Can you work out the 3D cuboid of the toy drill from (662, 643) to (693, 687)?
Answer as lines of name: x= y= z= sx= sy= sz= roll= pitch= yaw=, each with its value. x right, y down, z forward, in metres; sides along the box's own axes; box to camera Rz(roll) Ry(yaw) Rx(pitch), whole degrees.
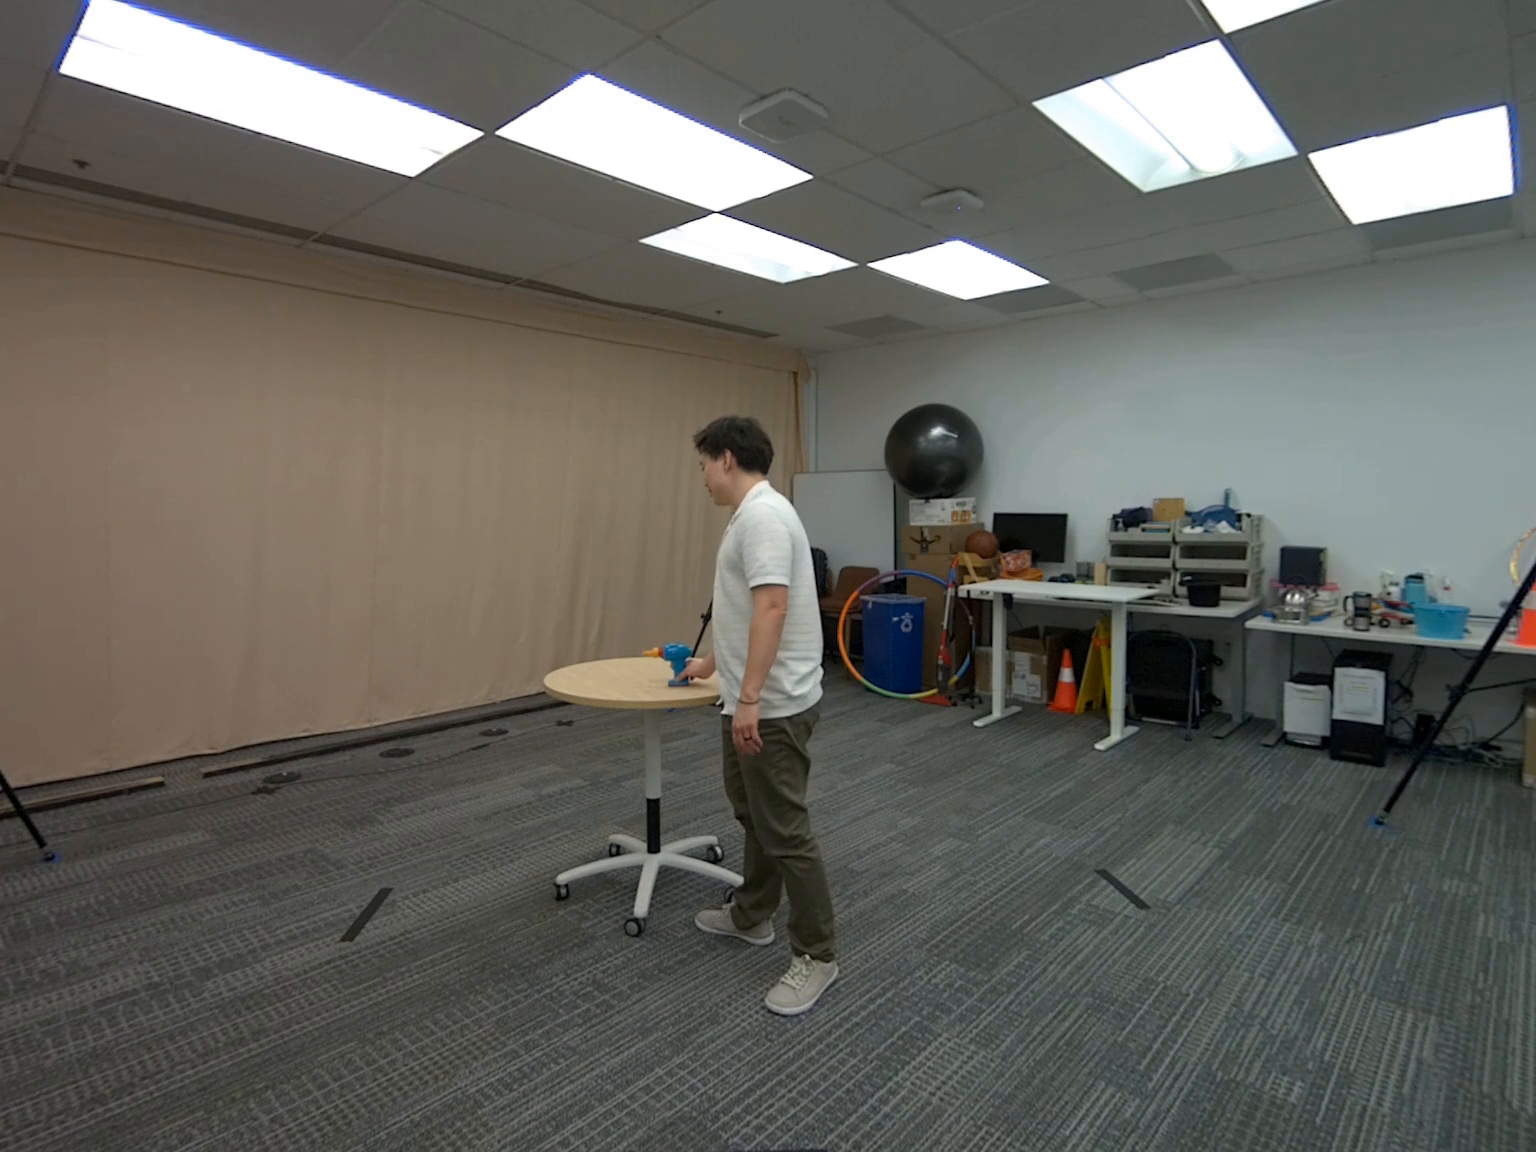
toy drill: x=-0.350 y=0.299 z=2.867 sx=0.169 sy=0.146 sz=0.062 roll=-1 pitch=4 yaw=-6
